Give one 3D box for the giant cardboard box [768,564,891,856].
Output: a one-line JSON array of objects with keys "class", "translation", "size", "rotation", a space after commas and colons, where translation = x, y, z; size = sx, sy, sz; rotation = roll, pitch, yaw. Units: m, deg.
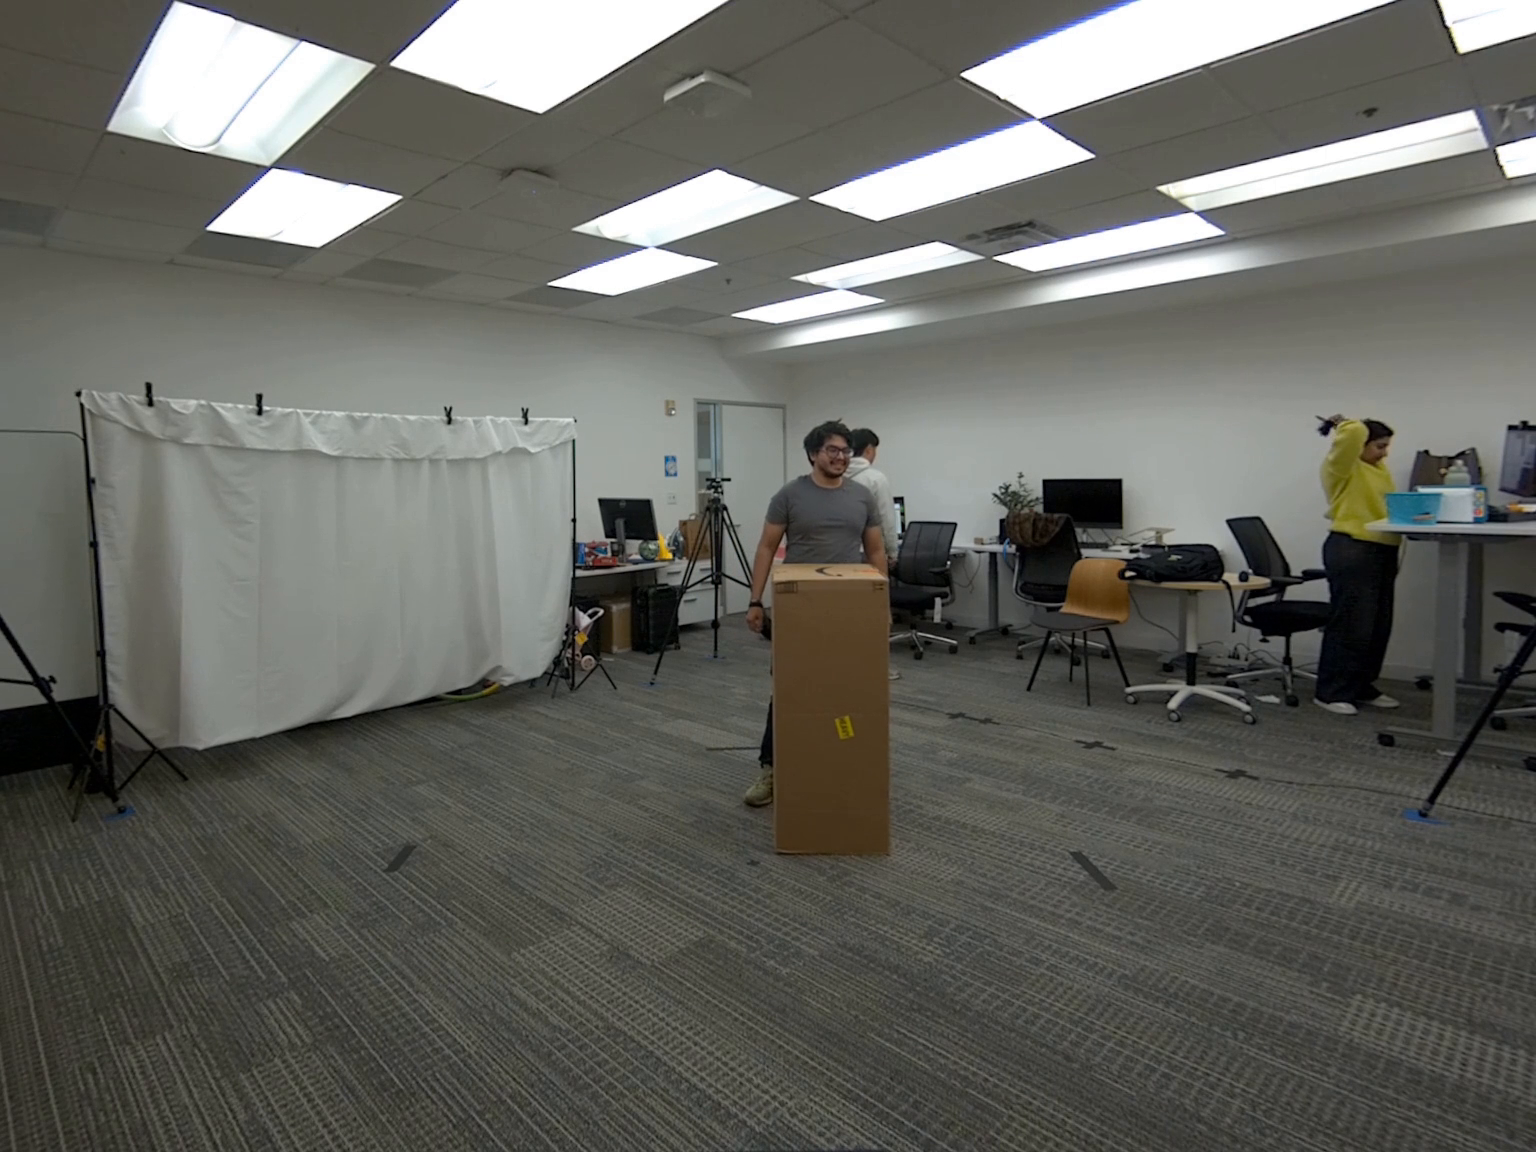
[{"class": "giant cardboard box", "translation": [0.245, 0.503, 3.403], "size": [0.448, 1.023, 0.584], "rotation": [-1, 4, 2]}]
